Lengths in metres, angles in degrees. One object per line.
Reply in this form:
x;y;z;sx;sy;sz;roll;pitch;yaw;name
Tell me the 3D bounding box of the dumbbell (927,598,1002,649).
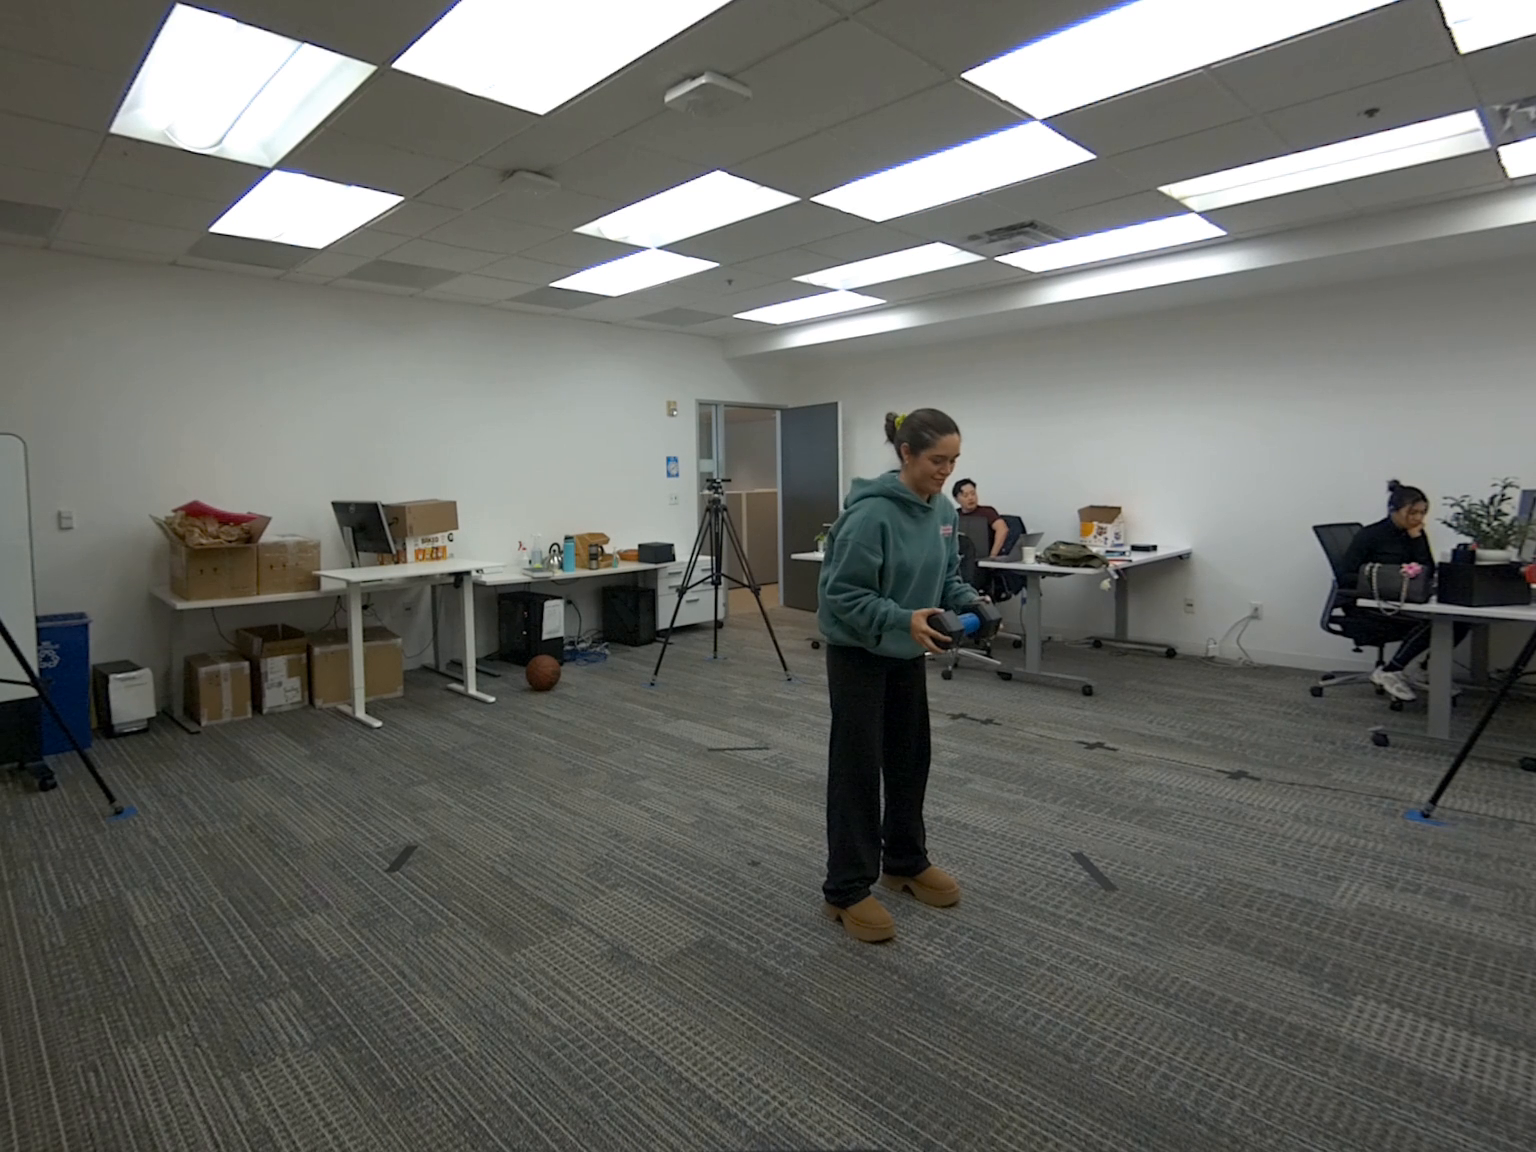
0.564;0.149;2.543;0.286;0.126;0.108;-8;-30;-43;dumbbell
